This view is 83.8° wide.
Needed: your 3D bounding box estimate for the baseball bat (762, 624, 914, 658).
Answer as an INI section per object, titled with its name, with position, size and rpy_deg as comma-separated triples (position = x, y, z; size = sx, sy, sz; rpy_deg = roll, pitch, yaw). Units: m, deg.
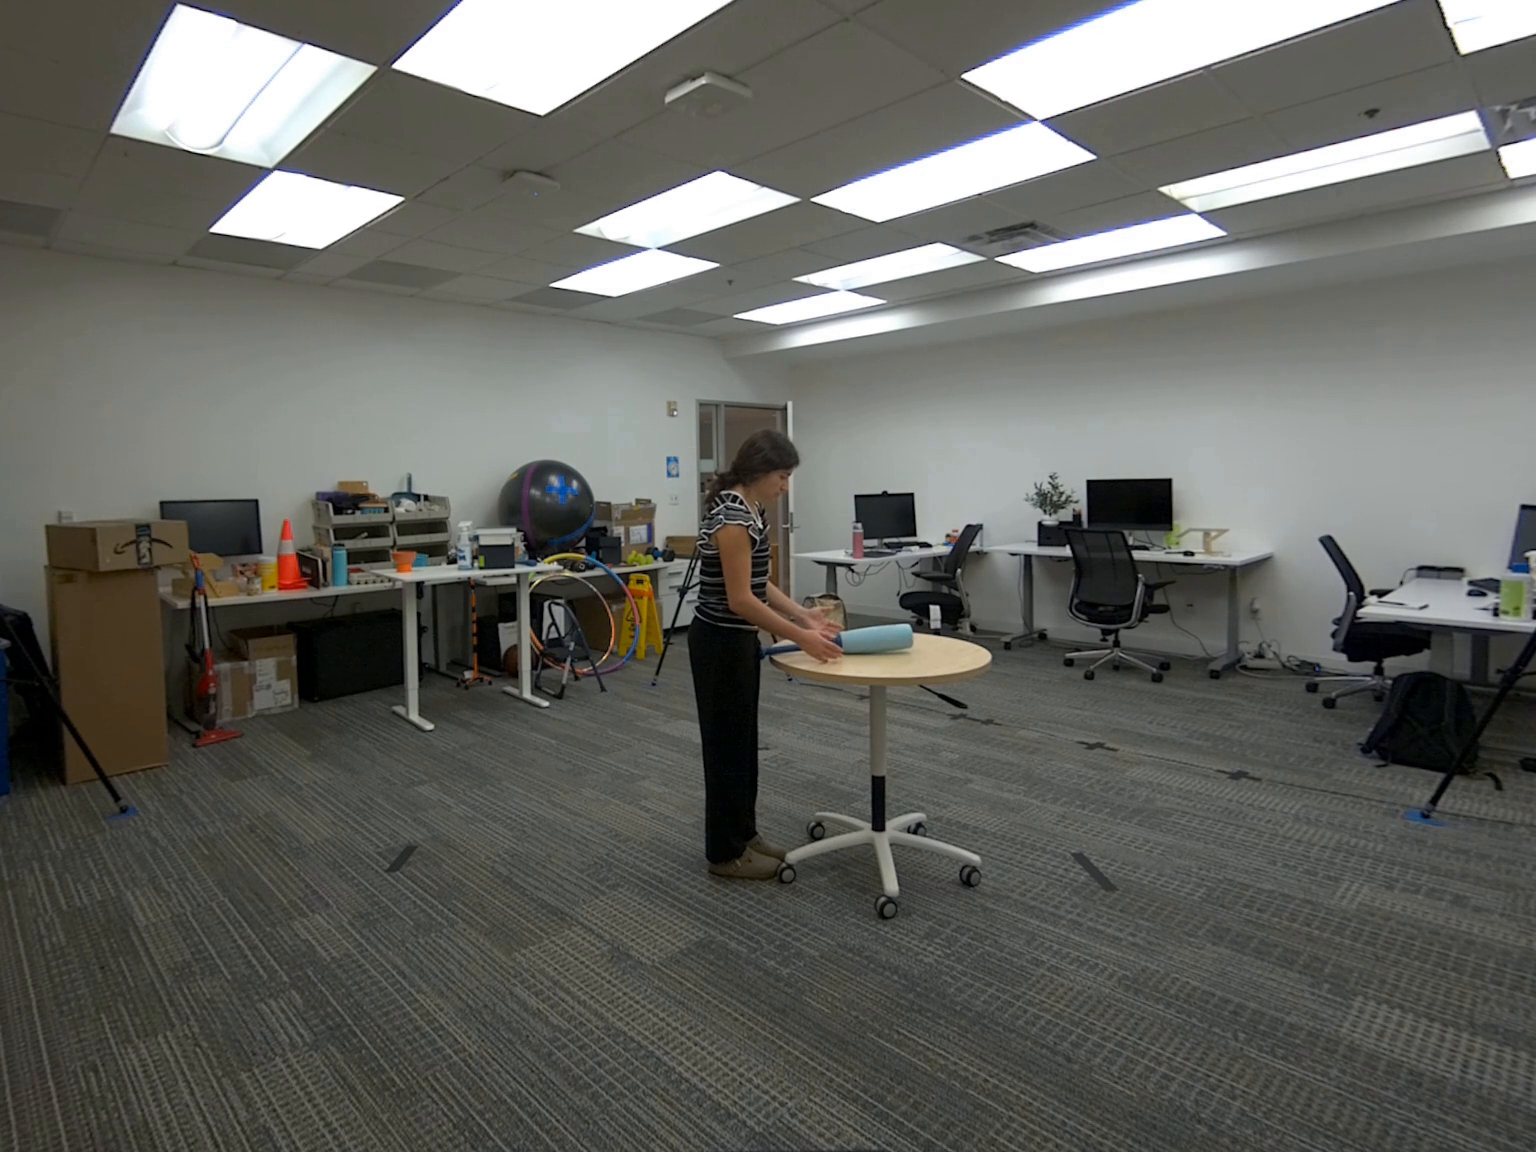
[baseball bat]
position = 0.225, 0.235, 2.975
size = 0.543, 0.089, 0.089
rpy_deg = -6, 5, 0
